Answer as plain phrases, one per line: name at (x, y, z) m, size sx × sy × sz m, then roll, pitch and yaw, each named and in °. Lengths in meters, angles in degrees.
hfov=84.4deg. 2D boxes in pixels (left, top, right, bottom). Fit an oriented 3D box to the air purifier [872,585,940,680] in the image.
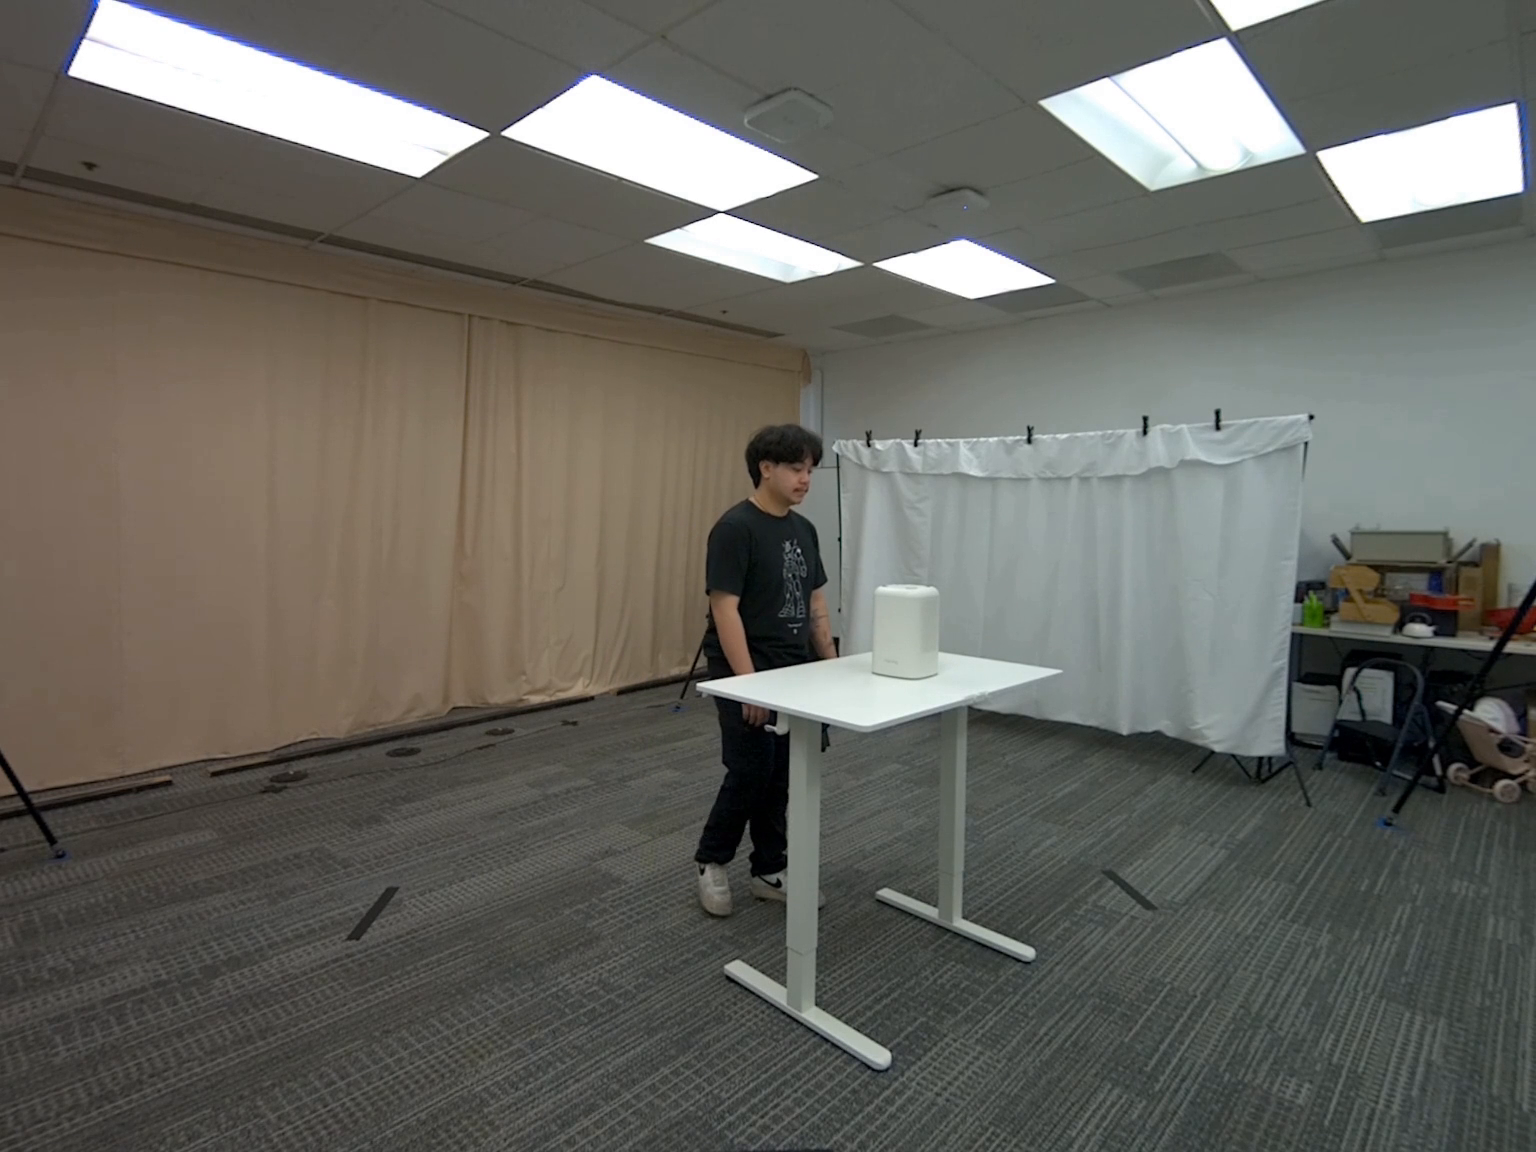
air purifier at (0.421, 0.164, 2.541) m, size 0.177 × 0.265 × 0.166 m, roll 4°, pitch 5°, yaw 41°
